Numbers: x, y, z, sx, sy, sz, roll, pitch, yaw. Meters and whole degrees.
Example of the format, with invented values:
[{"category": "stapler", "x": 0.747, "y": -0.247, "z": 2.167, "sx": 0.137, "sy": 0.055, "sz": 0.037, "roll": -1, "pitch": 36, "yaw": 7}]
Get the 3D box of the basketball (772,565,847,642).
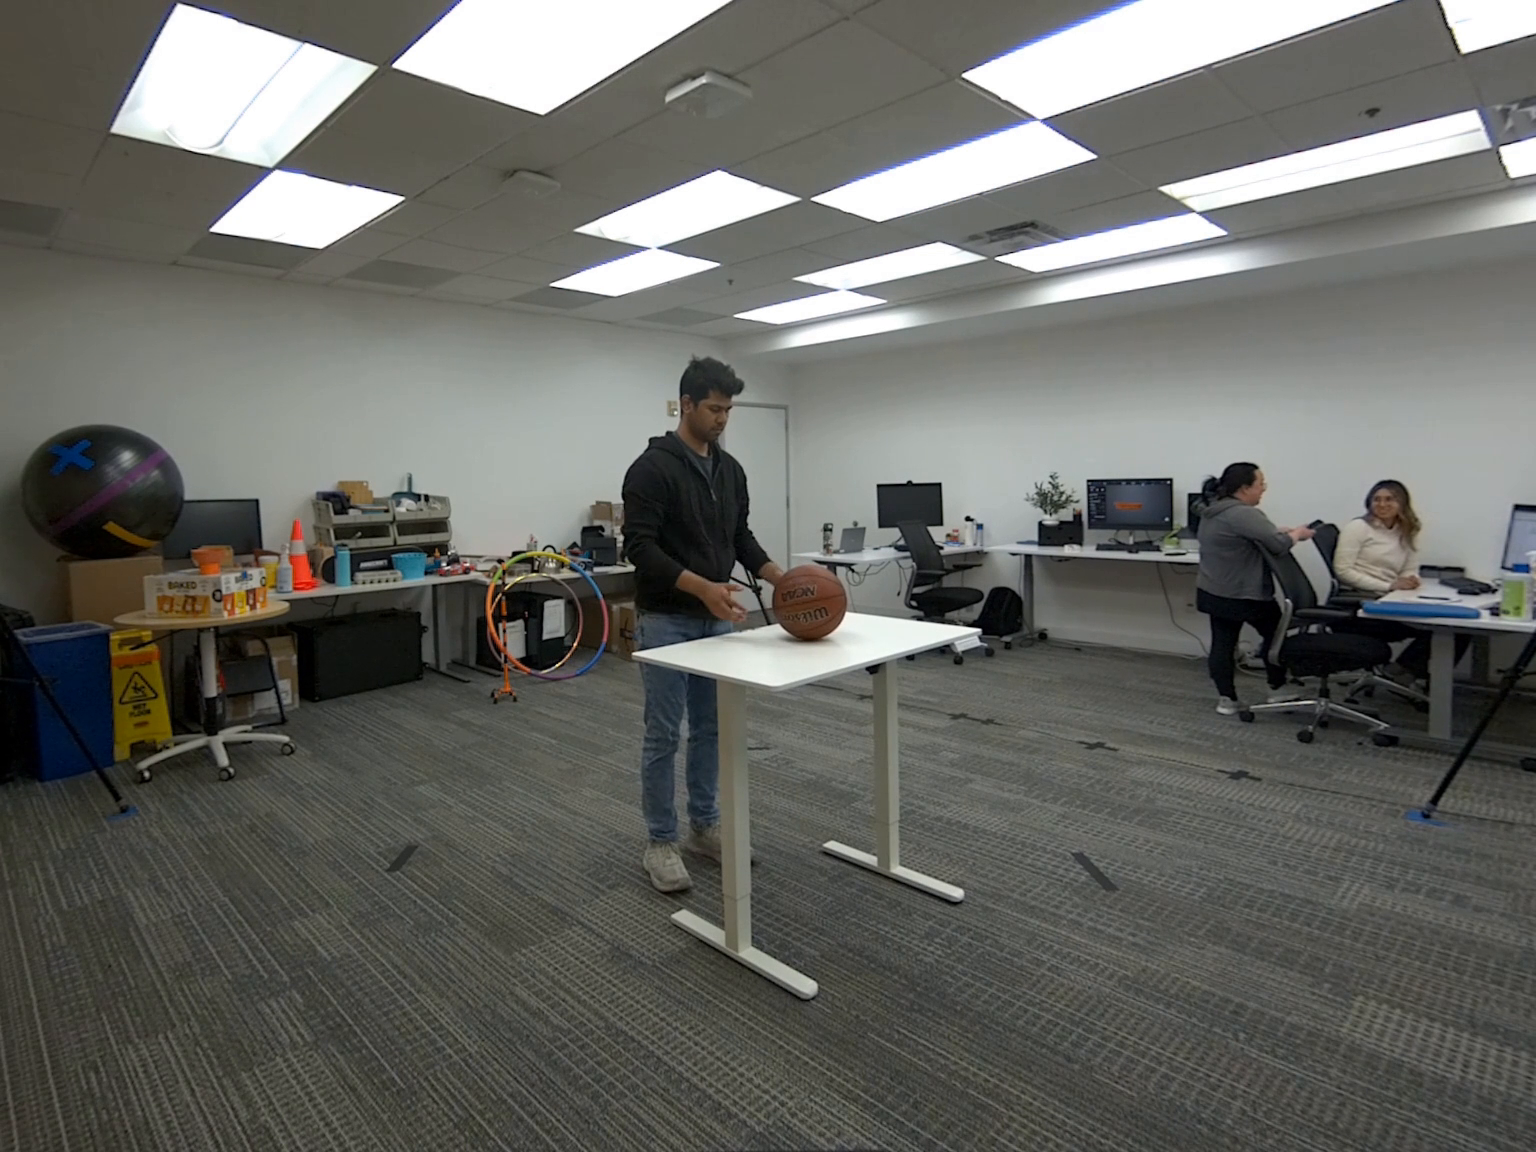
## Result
[{"category": "basketball", "x": 0.133, "y": 0.083, "z": 2.727, "sx": 0.236, "sy": 0.235, "sz": 0.237, "roll": -1, "pitch": 5, "yaw": -2}]
